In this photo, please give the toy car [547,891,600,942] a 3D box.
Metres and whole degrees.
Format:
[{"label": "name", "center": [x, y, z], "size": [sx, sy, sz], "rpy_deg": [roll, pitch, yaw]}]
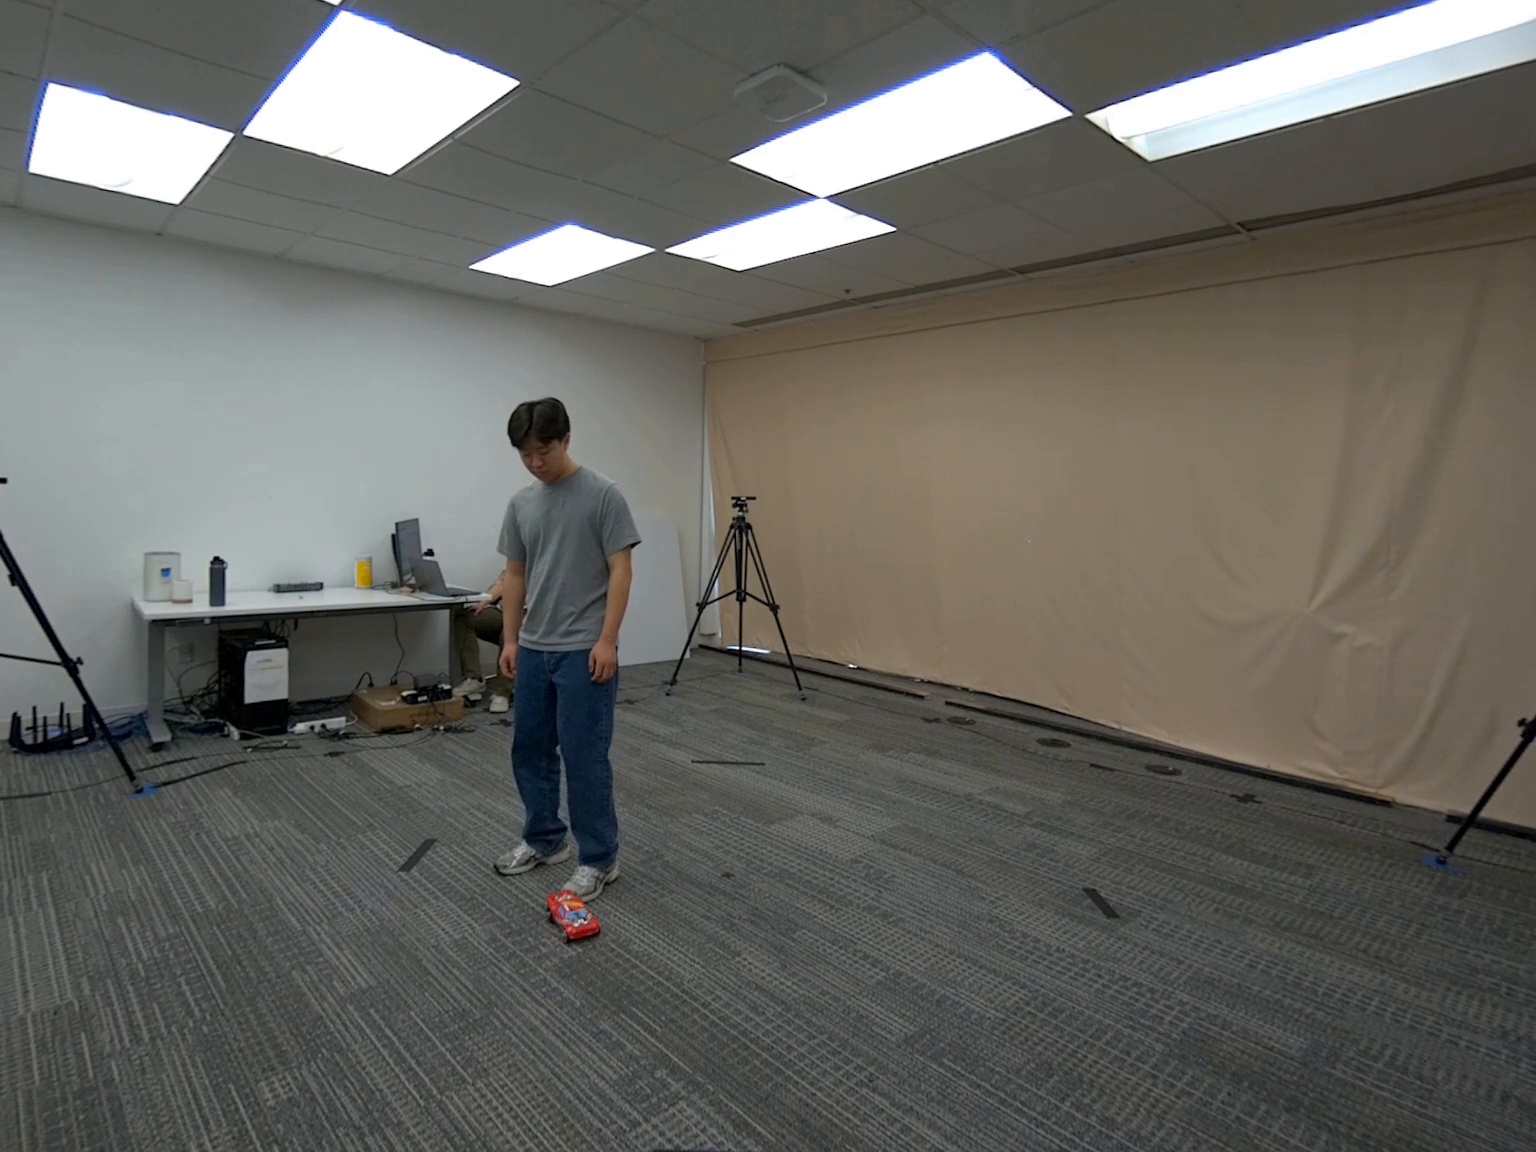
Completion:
[{"label": "toy car", "center": [-0.648, 1.096, 2.720], "size": [0.127, 0.082, 0.262], "rpy_deg": [-2, 17, -31]}]
